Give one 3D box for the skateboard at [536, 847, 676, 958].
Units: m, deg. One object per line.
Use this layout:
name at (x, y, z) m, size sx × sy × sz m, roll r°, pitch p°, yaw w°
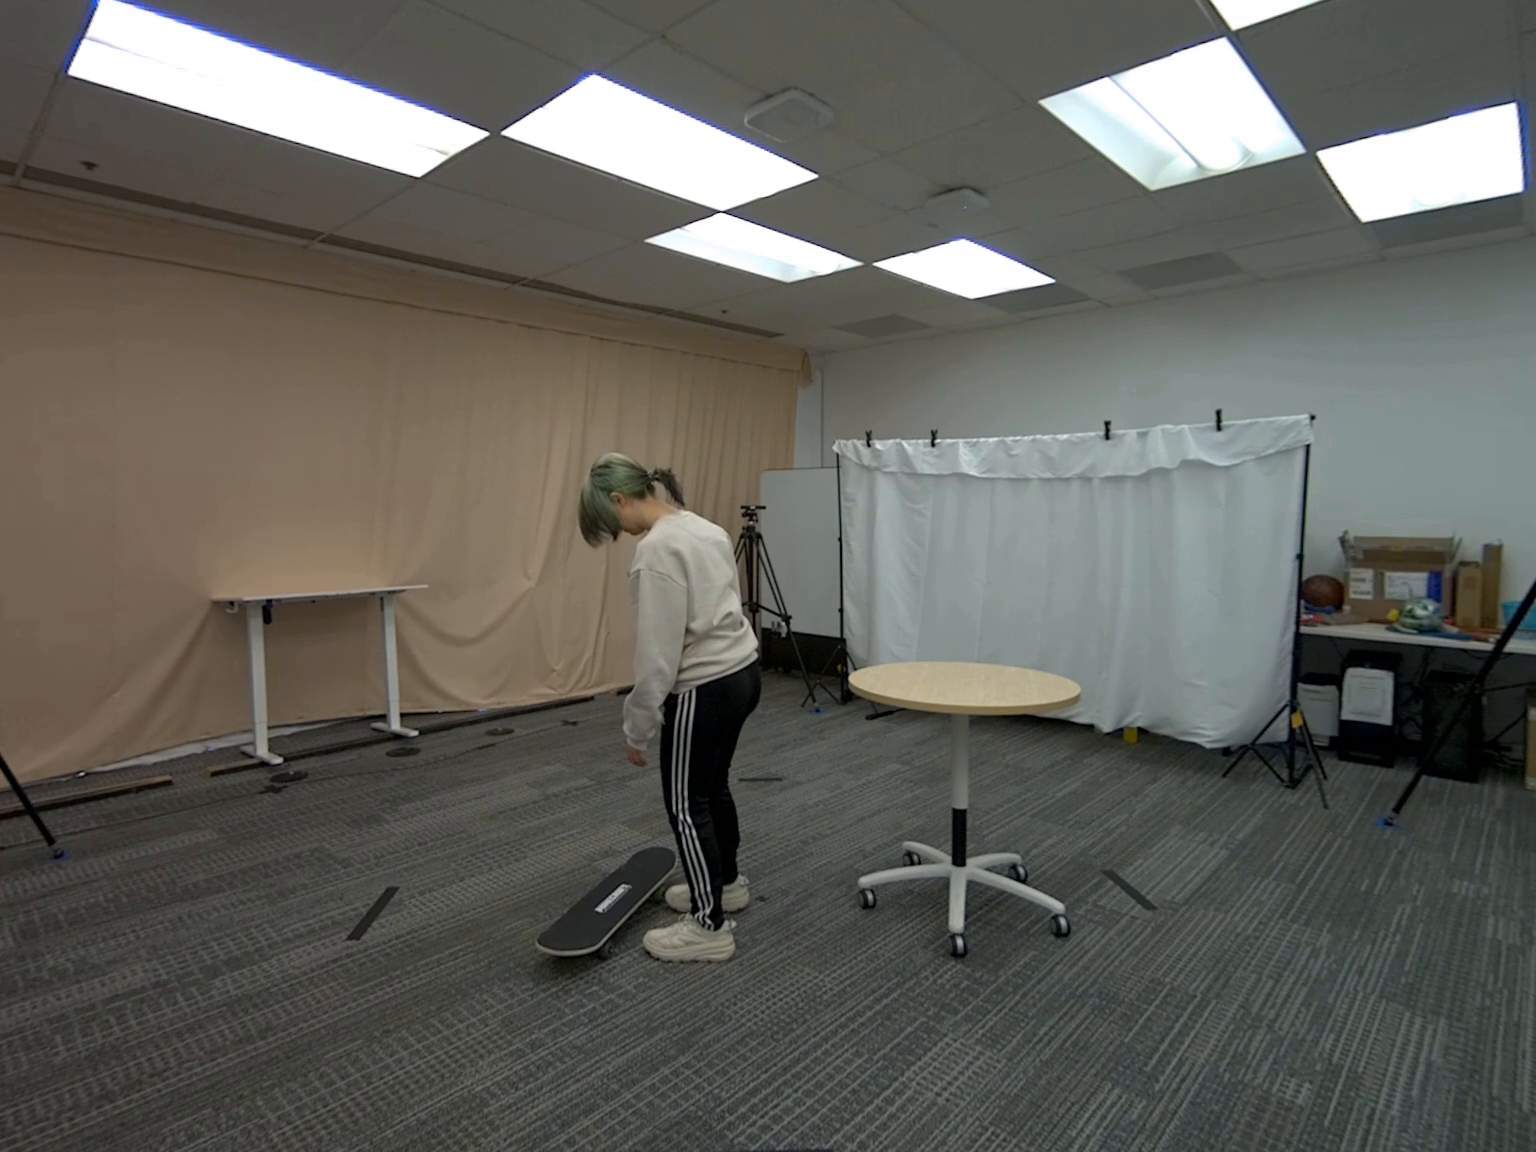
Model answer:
skateboard at (-0.510, 1.100, 2.804) m, size 0.197 × 0.110 × 0.771 m, roll 1°, pitch 5°, yaw 18°
